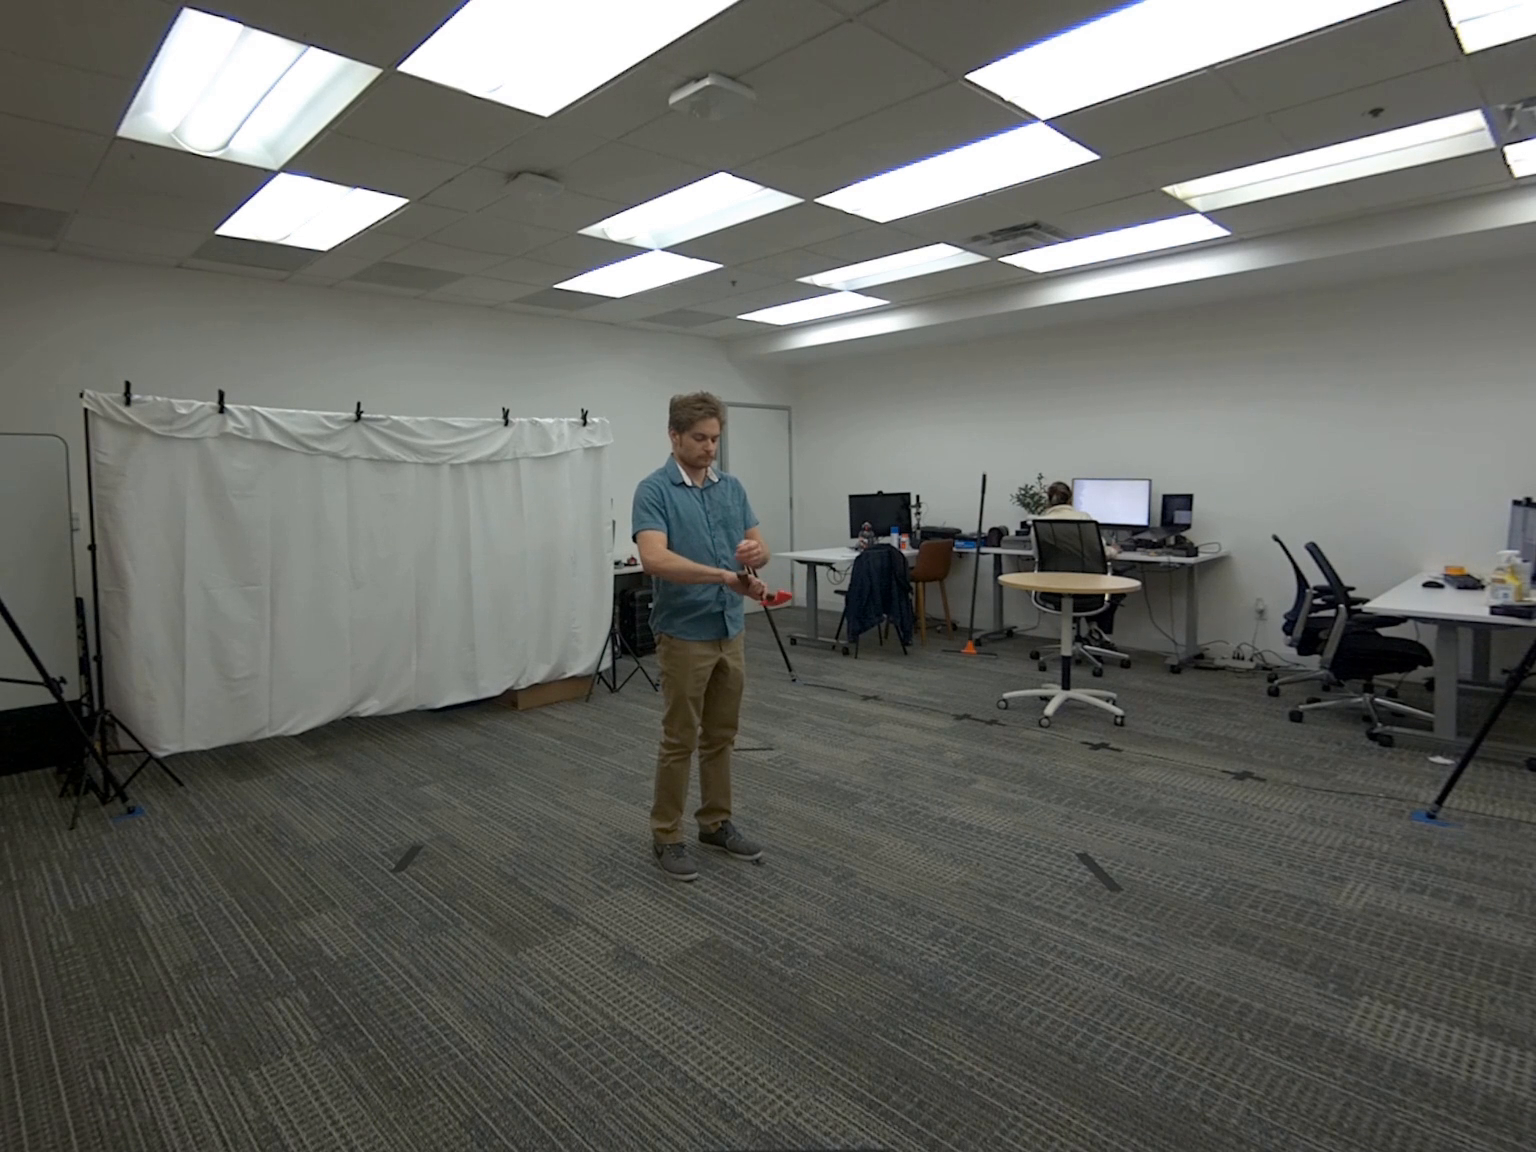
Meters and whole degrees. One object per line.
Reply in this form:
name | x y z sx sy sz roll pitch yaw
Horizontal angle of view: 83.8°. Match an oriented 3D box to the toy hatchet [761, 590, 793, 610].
toy hatchet | -0.004 0.043 2.771 0.133 0.030 0.261 -5 -24 15
